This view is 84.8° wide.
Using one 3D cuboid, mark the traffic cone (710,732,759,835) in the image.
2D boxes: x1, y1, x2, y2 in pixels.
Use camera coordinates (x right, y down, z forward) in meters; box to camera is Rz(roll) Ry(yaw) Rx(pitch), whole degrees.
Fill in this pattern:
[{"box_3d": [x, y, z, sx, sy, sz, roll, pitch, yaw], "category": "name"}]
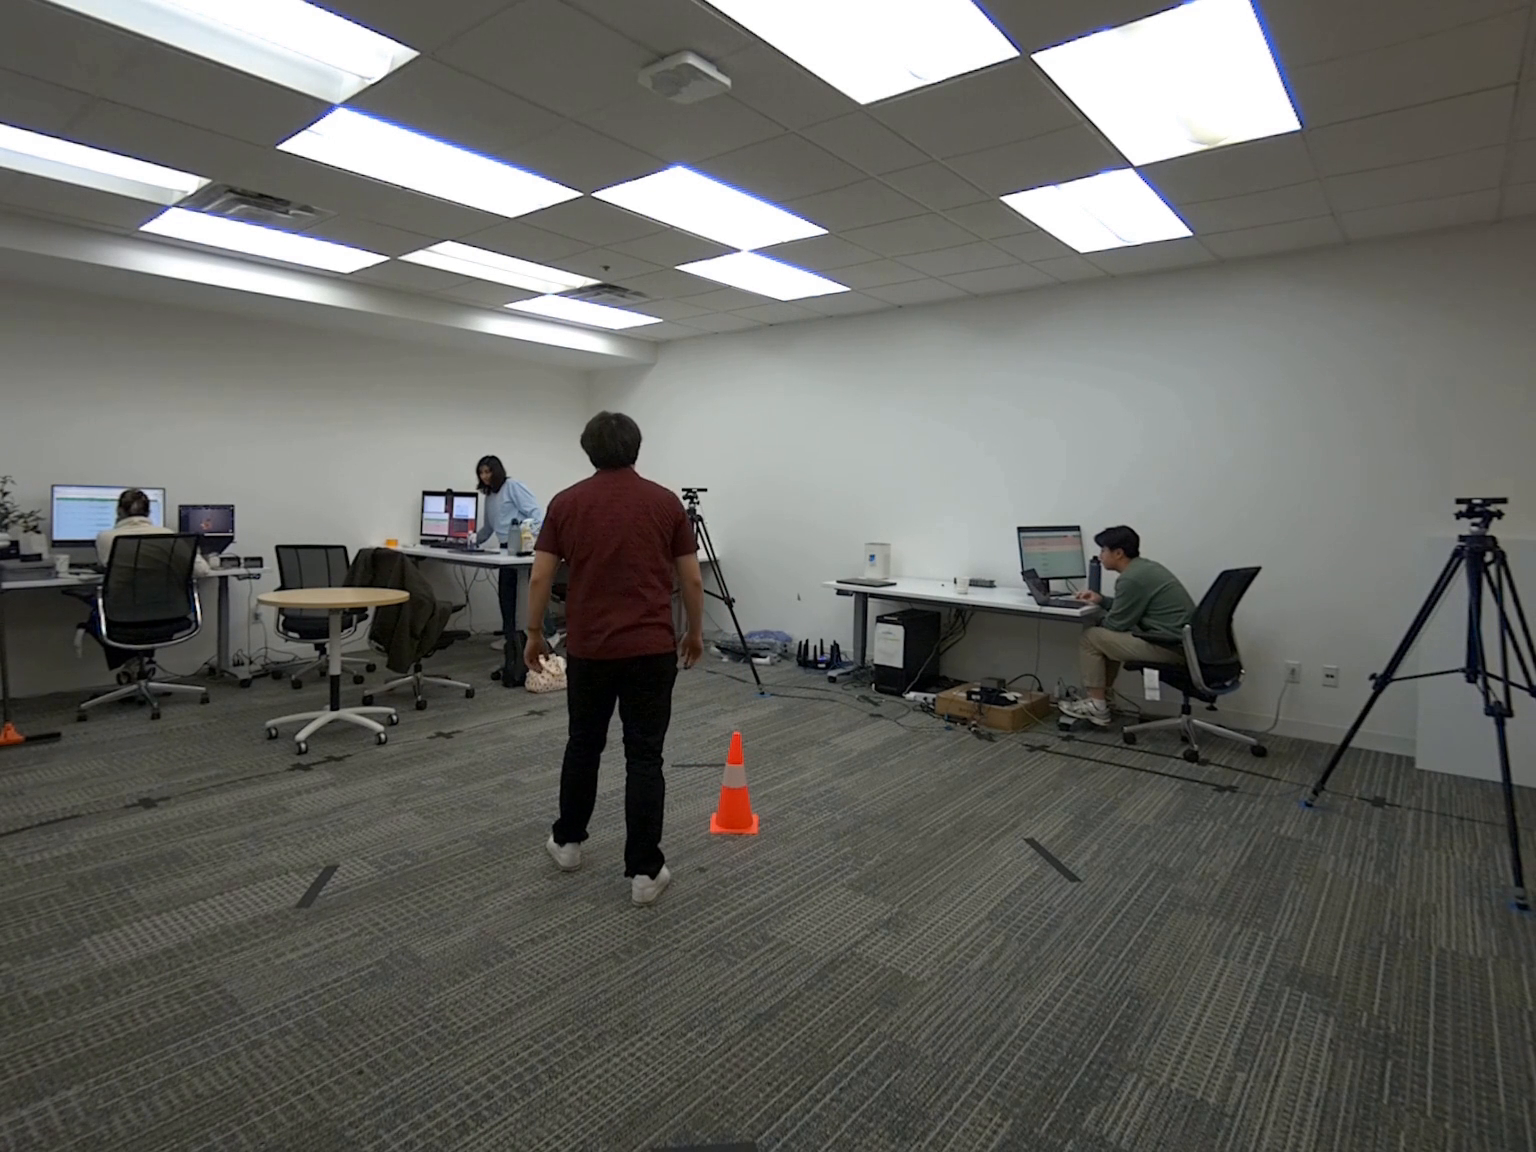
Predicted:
[{"box_3d": [-0.150, 0.844, 3.544, 0.204, 0.383, 0.205, 2, 2, 2], "category": "traffic cone"}]
